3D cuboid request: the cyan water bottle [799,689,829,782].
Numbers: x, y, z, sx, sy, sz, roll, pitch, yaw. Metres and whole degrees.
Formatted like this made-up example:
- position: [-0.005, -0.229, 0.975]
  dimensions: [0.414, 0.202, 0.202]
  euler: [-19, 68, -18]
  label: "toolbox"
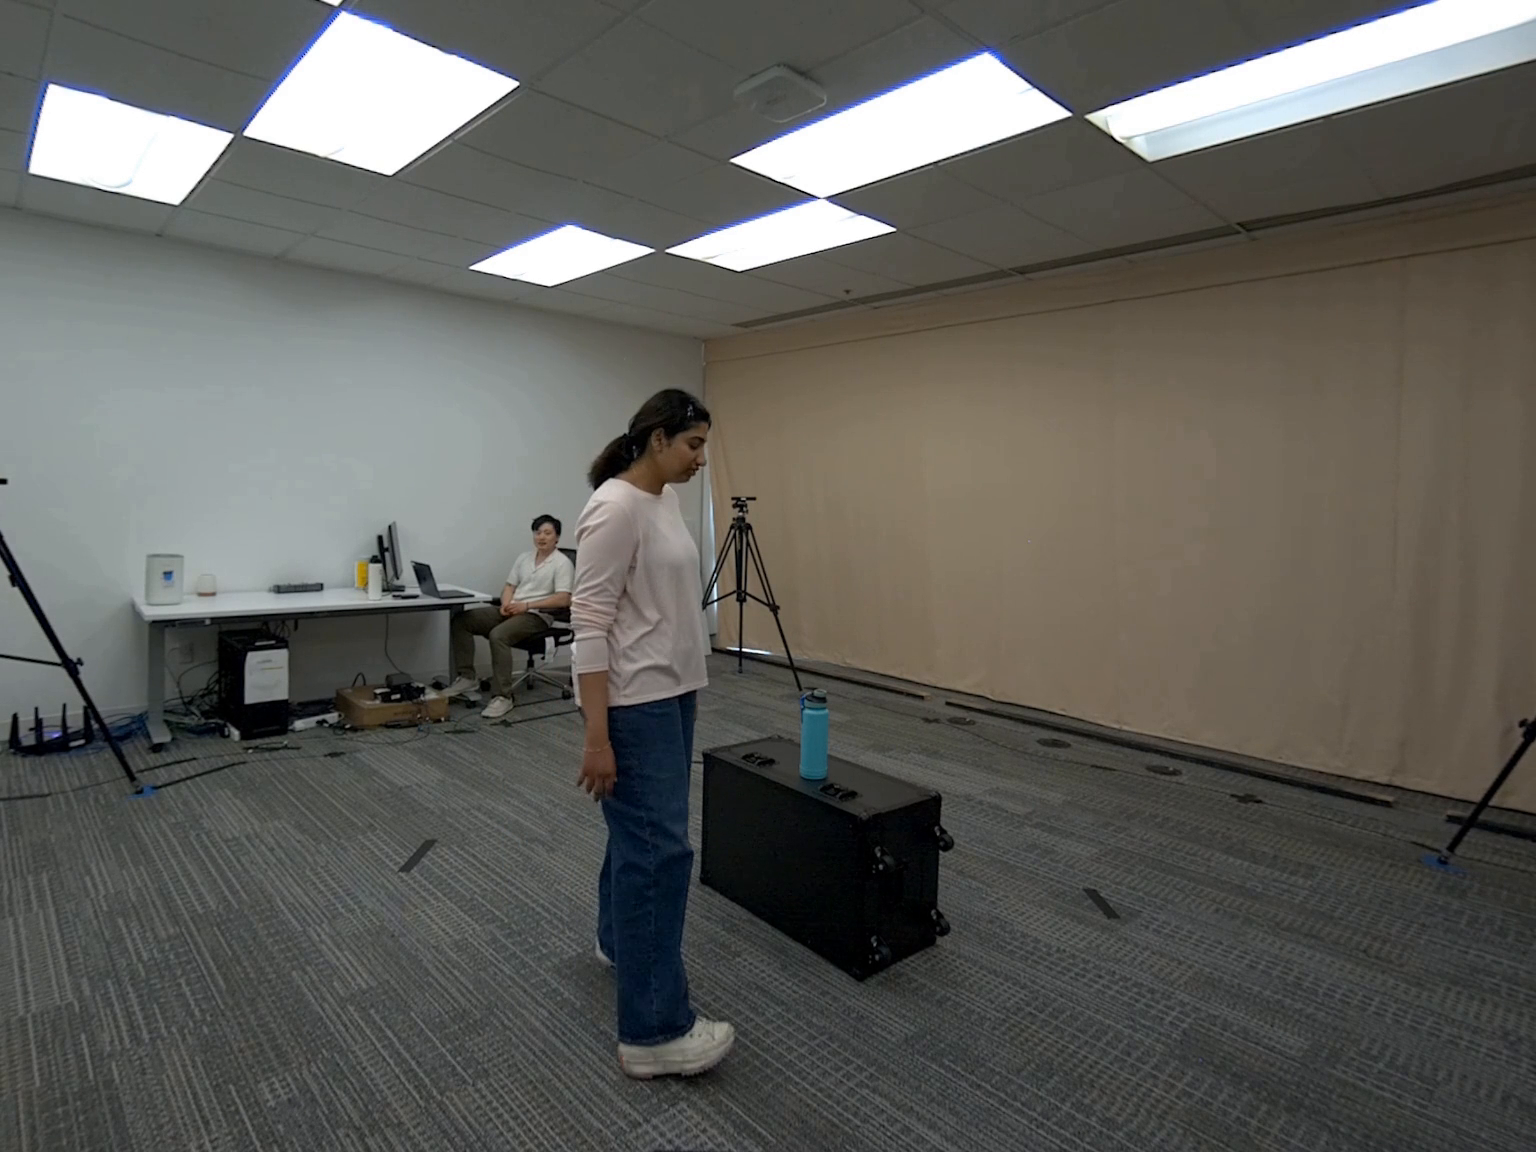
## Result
- position: [0.147, 0.524, 2.774]
  dimensions: [0.092, 0.282, 0.092]
  euler: [0, 4, -1]
  label: "cyan water bottle"
